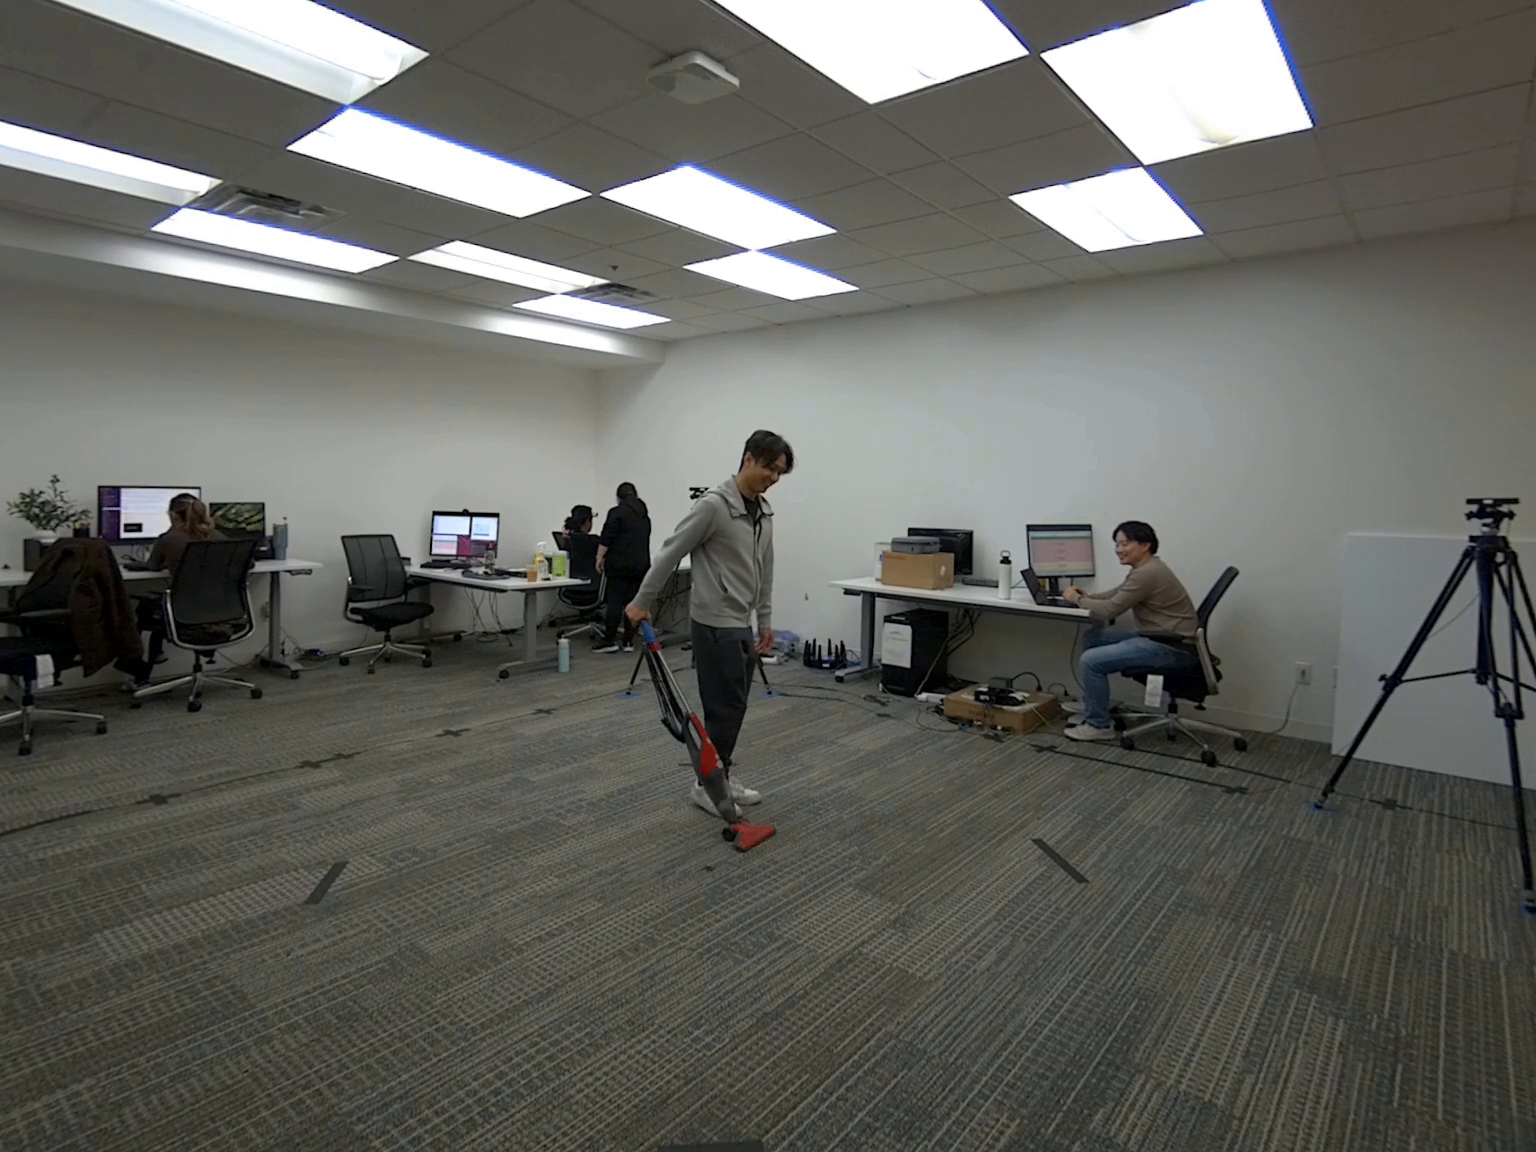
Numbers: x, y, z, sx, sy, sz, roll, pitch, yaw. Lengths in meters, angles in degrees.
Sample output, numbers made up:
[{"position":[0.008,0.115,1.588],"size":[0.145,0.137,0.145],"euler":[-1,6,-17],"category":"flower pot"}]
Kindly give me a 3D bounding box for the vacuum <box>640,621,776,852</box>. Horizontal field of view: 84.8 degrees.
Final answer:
[{"position":[-0.327,0.603,3.520],"size":[0.145,1.072,0.246],"euler":[-38,-17,23],"category":"vacuum"}]
